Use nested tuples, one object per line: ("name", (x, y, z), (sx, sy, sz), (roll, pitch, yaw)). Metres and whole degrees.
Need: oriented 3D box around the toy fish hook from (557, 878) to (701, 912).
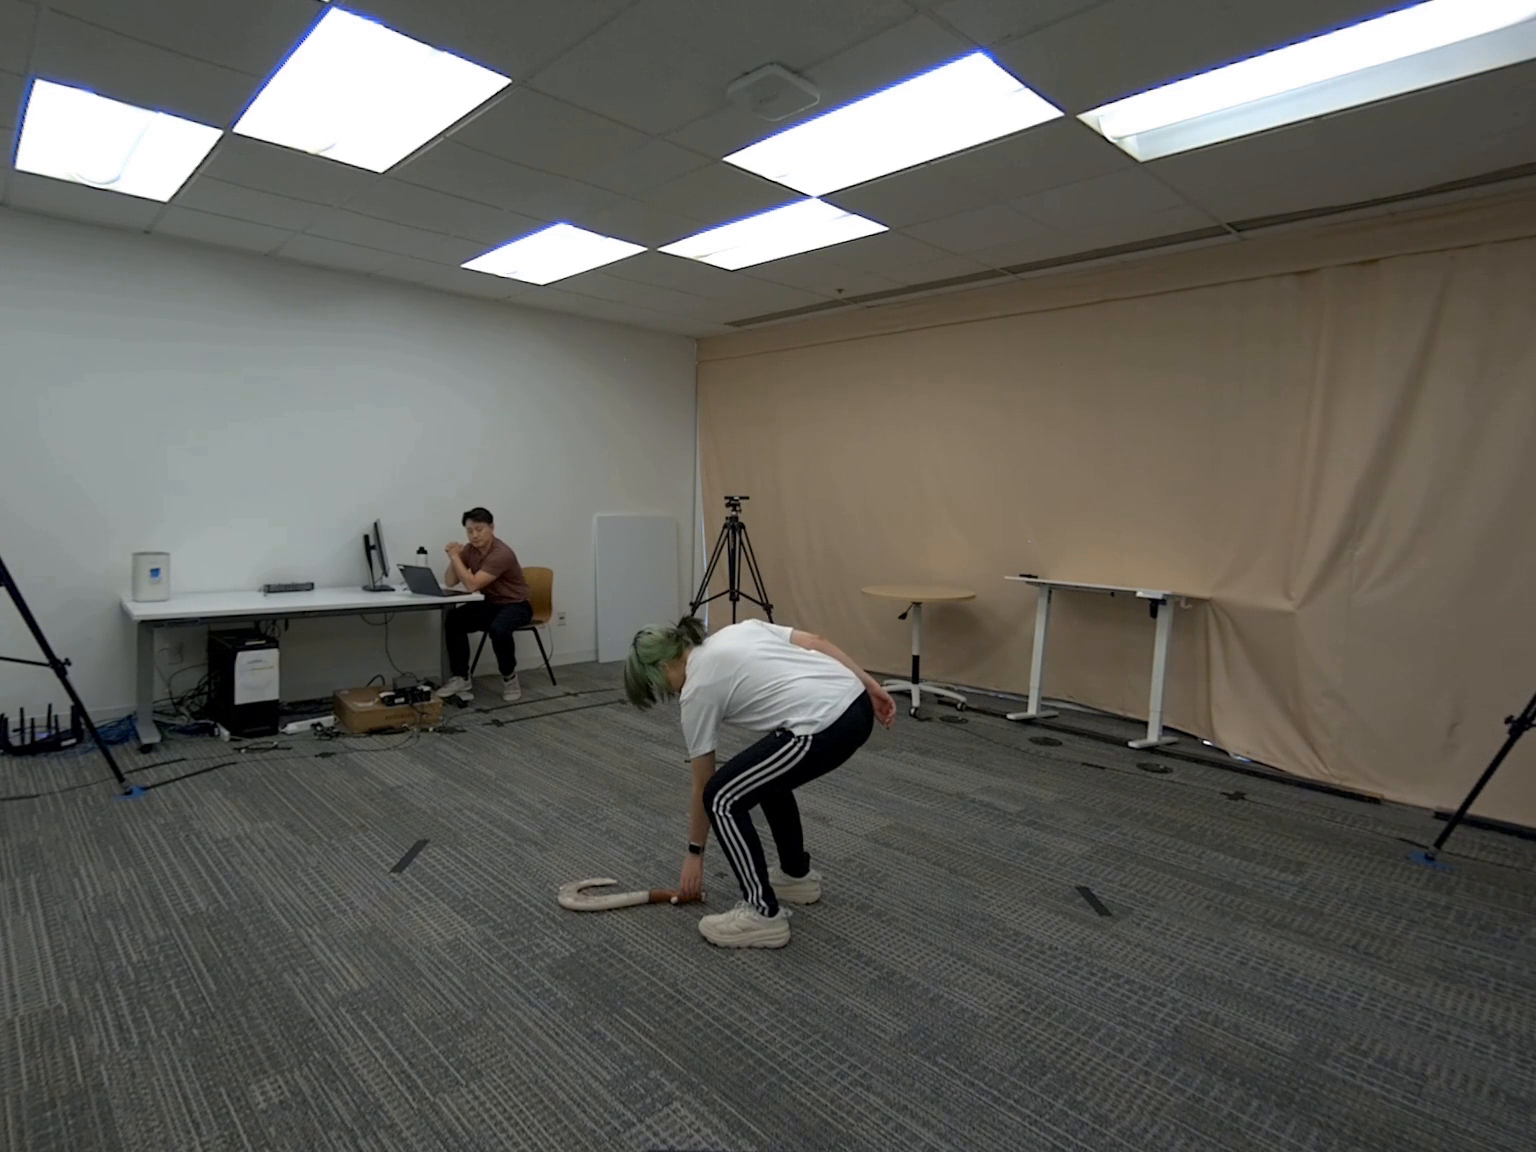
("toy fish hook", (-0.468, 1.084, 2.910), (0.504, 0.048, 0.227), (1, 7, -7))
